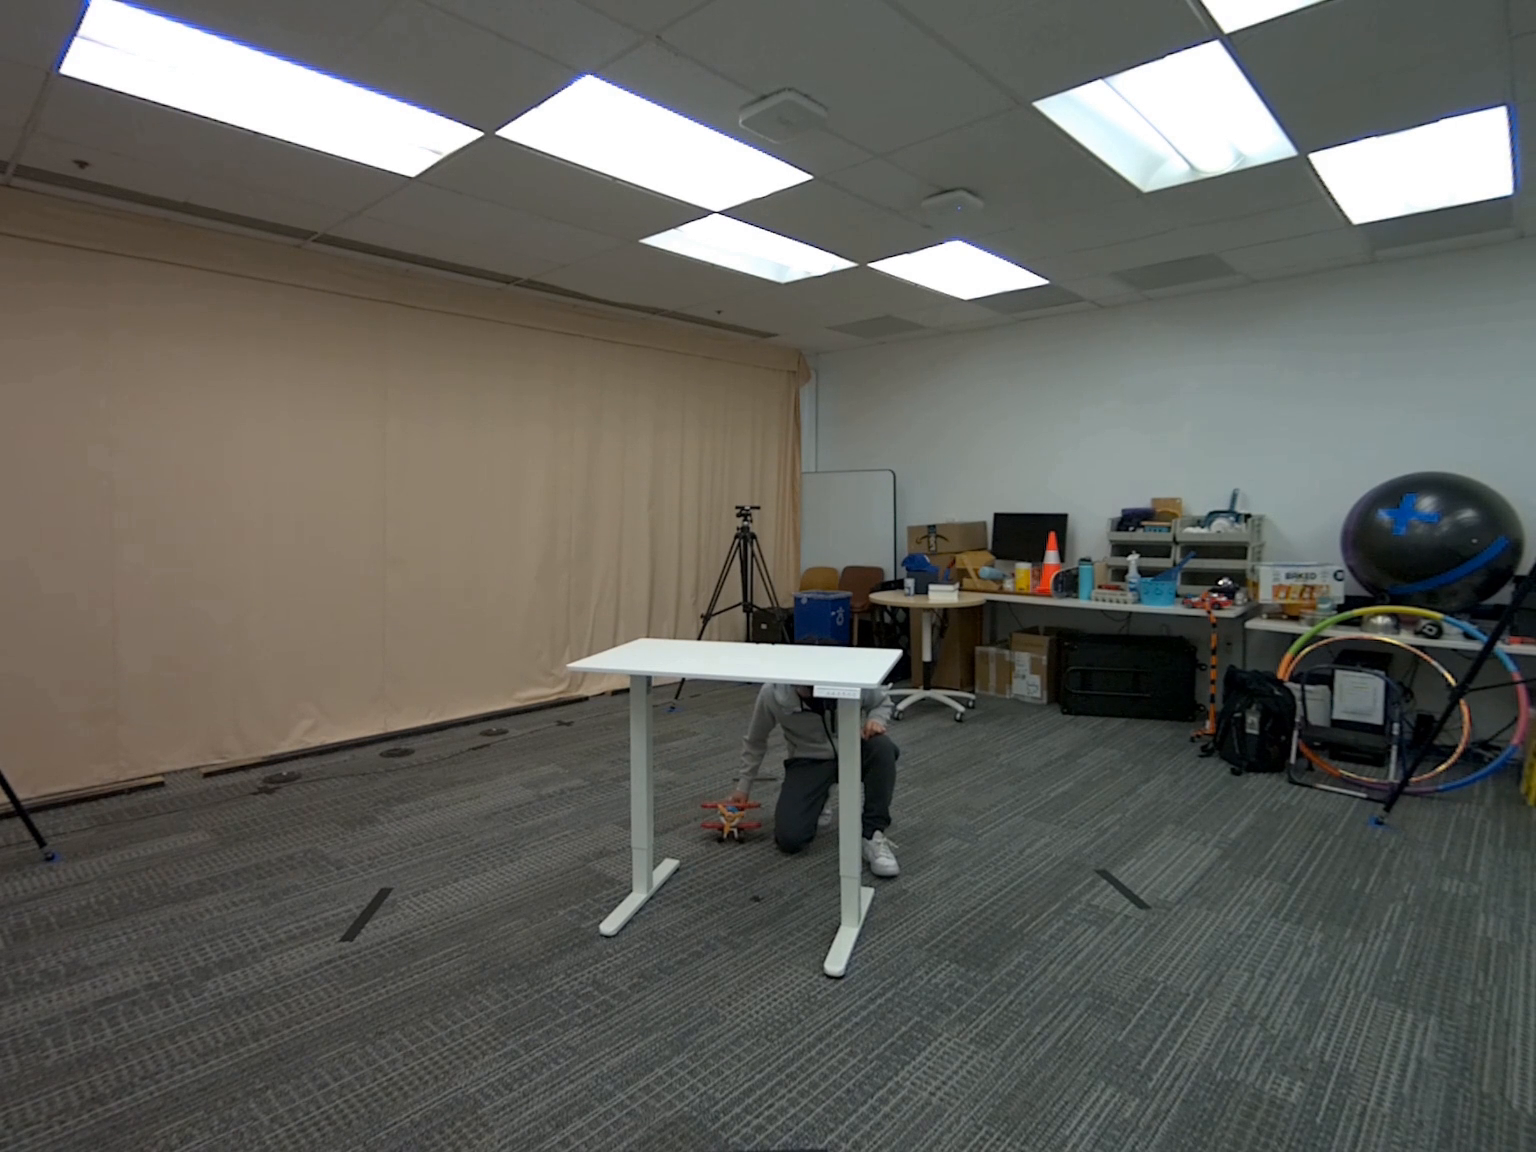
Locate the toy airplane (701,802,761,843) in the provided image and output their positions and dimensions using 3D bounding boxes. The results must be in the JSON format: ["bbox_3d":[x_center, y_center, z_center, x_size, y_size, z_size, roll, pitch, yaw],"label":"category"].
[{"bbox_3d":[-0.172,1.028,3.579,0.245,0.156,0.266,-2,4,-26],"label":"toy airplane"}]
